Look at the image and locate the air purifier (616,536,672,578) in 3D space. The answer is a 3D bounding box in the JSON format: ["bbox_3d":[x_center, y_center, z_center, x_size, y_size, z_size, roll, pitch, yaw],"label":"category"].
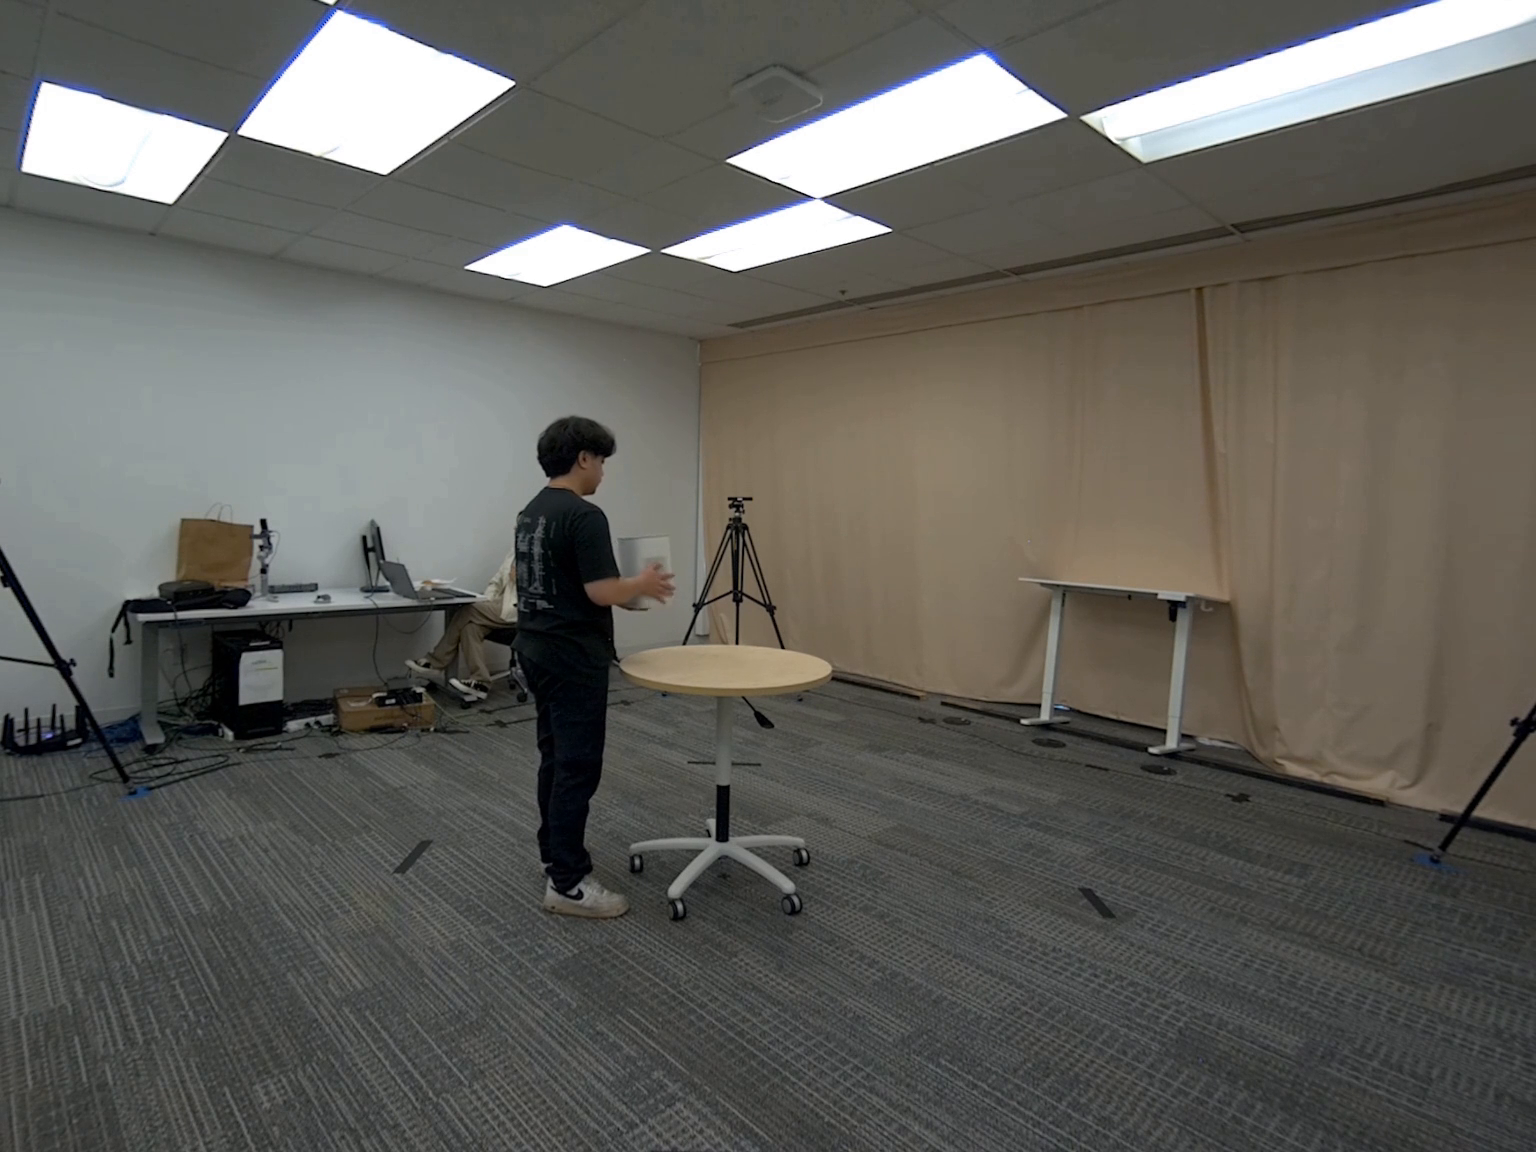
[{"bbox_3d":[-0.471,-0.016,3.168,0.168,0.264,0.175,-7,5,-35],"label":"air purifier"}]
